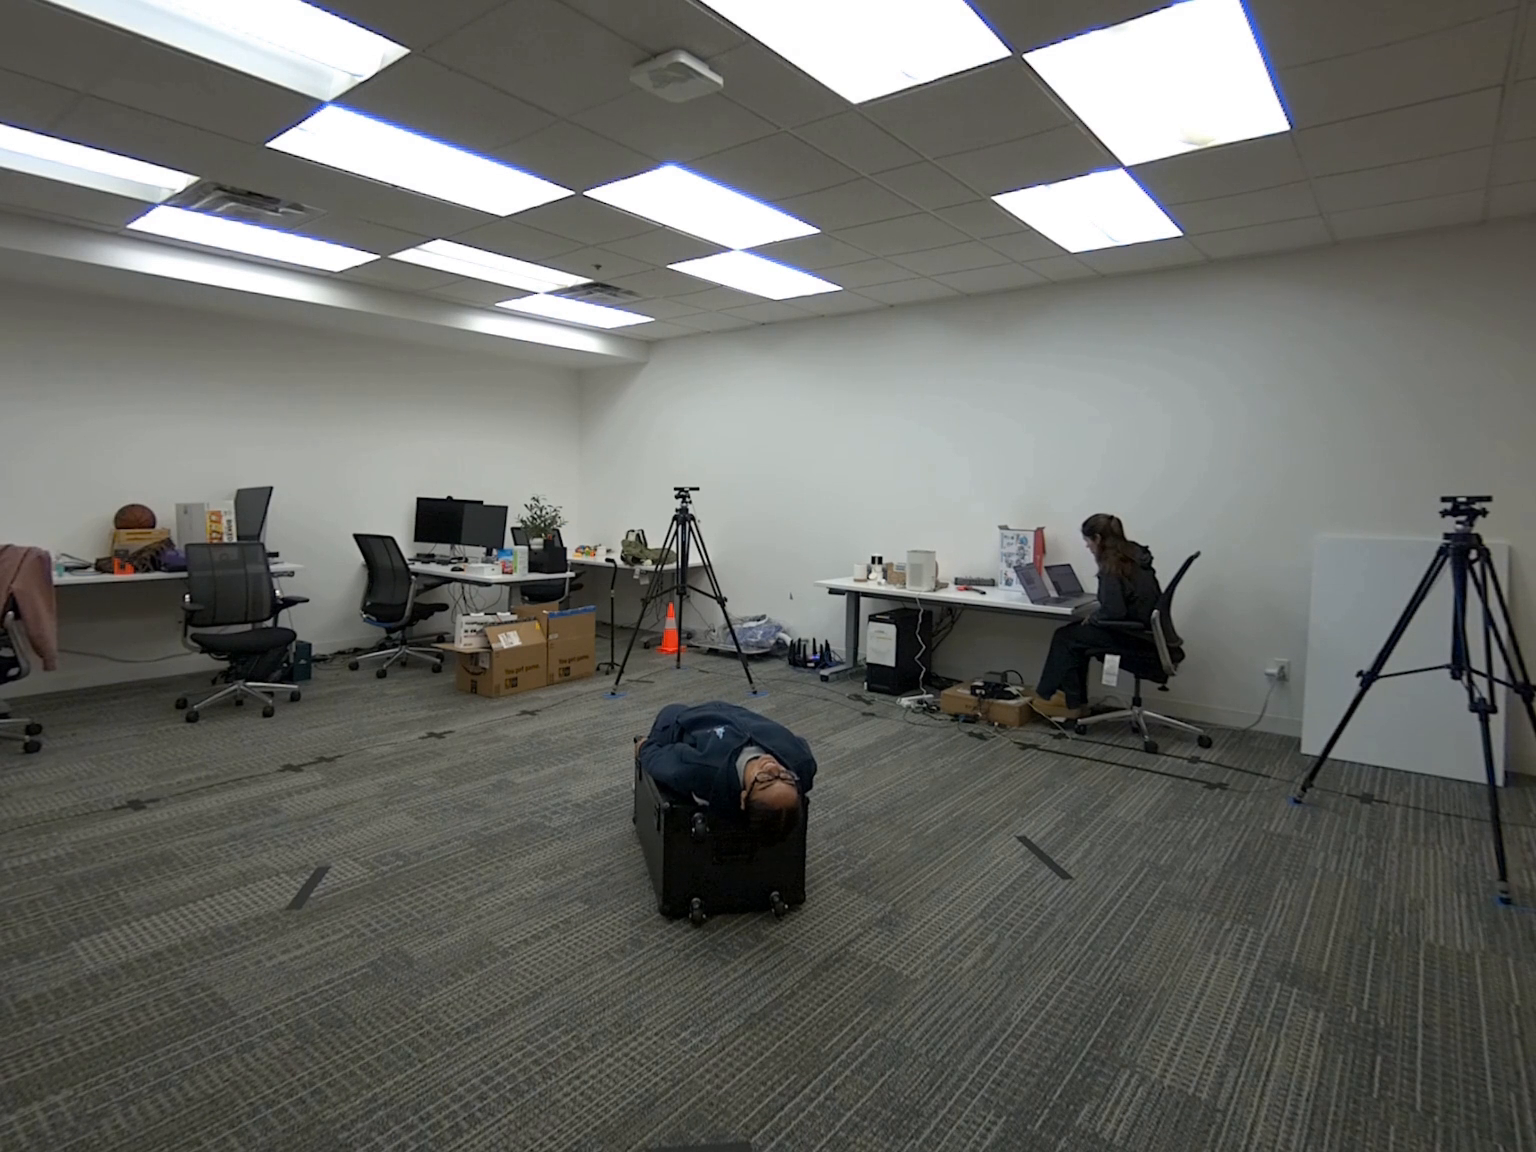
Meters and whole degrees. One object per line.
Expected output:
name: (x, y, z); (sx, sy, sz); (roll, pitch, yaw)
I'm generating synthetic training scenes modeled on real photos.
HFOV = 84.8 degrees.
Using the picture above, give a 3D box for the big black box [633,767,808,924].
big black box: (-0.209, 0.880, 3.092); (0.513, 0.395, 0.877); (2, 4, -15)
